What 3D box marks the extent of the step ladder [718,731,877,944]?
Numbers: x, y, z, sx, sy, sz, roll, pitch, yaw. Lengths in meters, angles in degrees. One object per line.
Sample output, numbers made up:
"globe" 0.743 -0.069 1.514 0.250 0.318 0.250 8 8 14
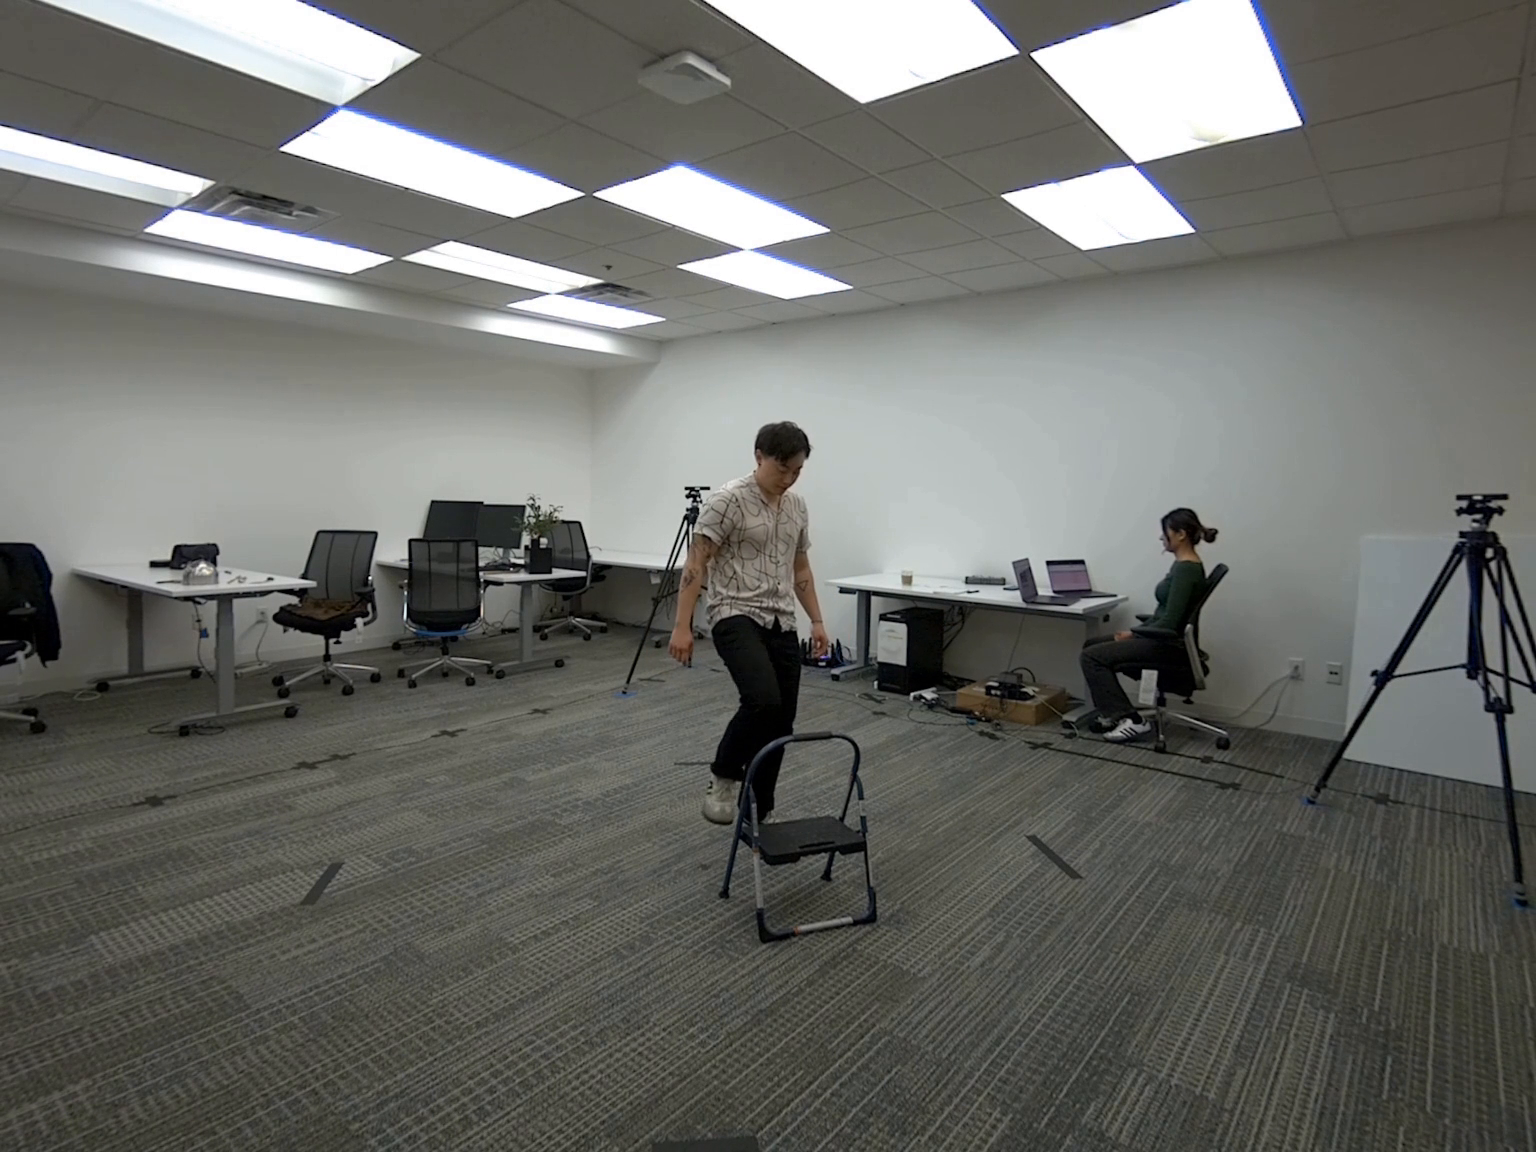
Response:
"step ladder" 0.096 0.798 2.810 0.421 0.604 0.358 0 4 -24
